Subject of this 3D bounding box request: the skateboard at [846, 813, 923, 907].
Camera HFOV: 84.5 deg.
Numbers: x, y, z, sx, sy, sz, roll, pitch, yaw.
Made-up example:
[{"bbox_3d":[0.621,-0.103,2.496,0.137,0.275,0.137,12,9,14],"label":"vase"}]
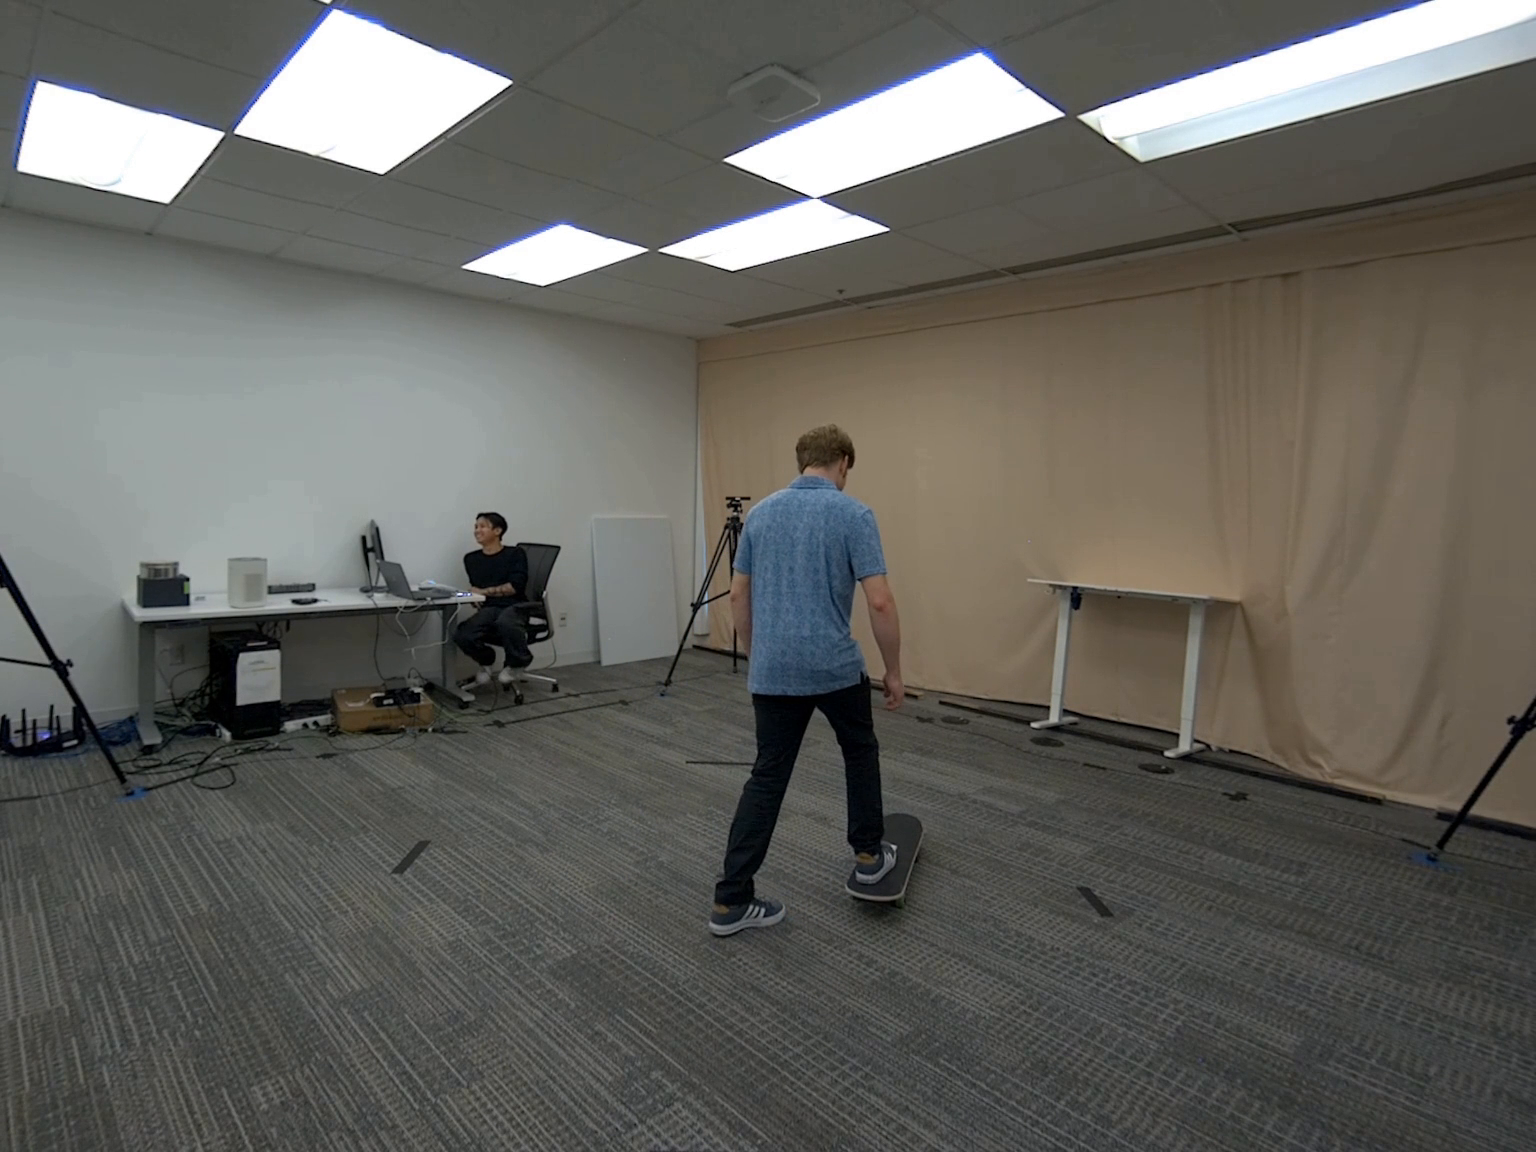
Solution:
[{"bbox_3d":[0.433,1.059,3.114,0.196,0.110,0.776,1,5,17],"label":"skateboard"}]
